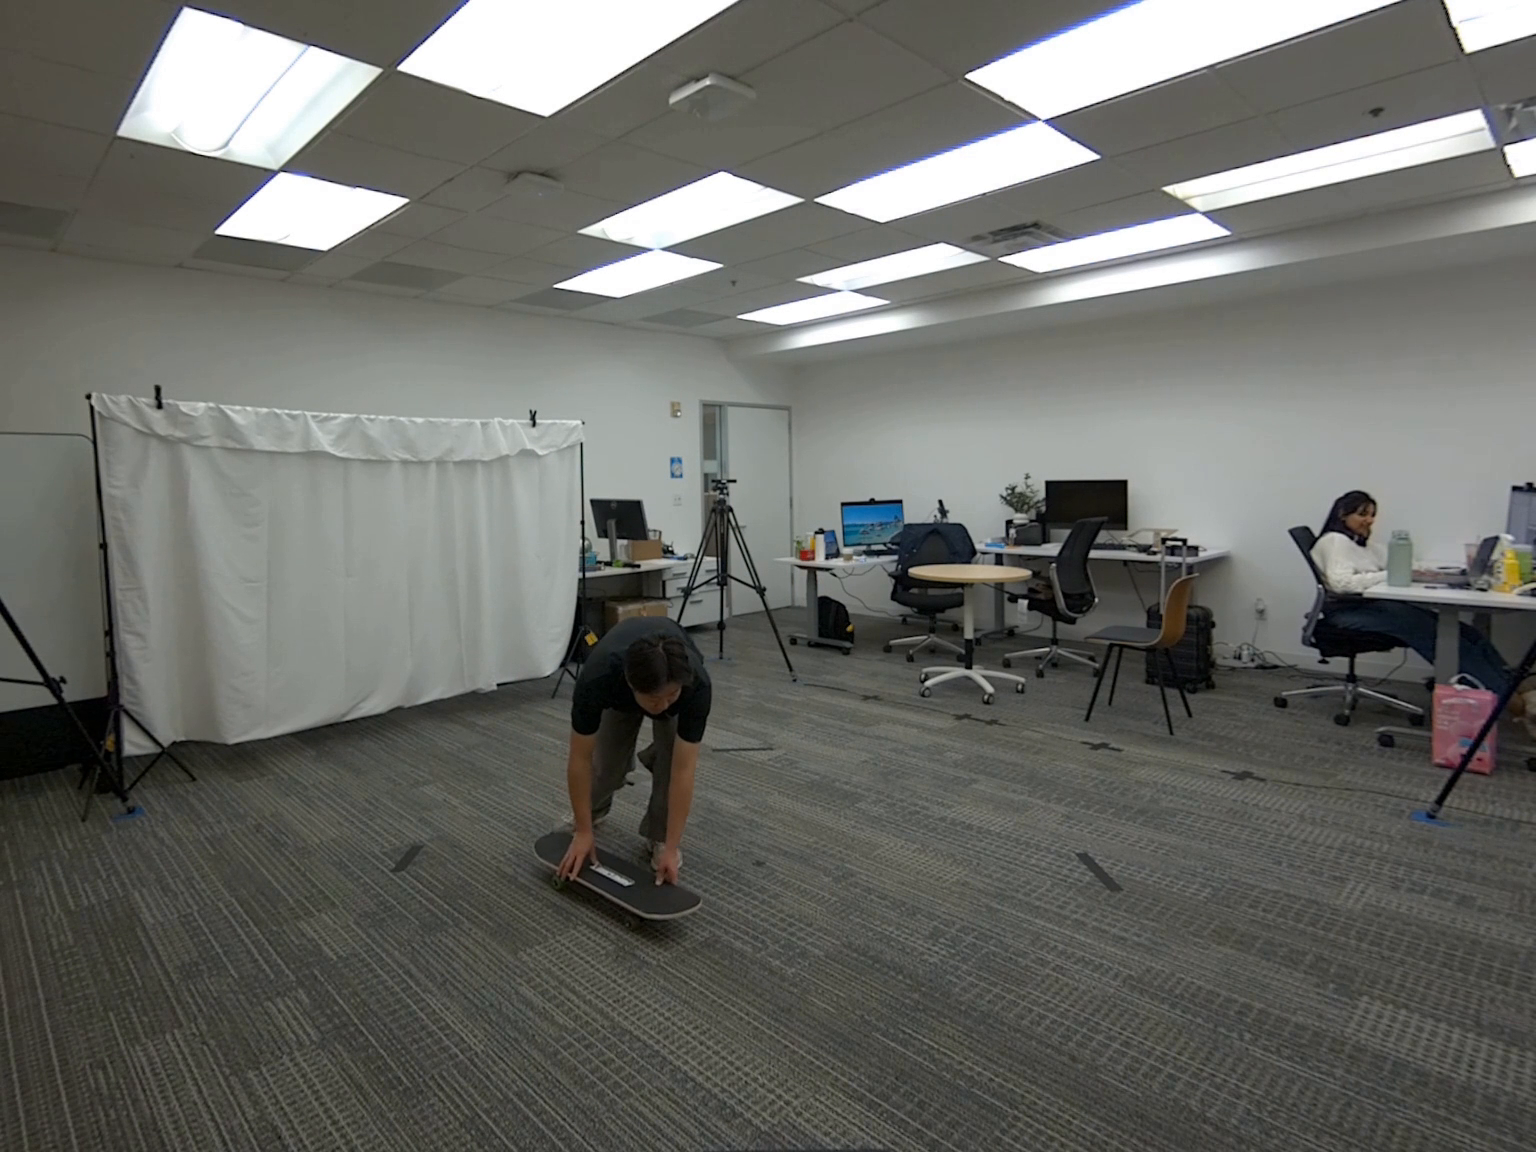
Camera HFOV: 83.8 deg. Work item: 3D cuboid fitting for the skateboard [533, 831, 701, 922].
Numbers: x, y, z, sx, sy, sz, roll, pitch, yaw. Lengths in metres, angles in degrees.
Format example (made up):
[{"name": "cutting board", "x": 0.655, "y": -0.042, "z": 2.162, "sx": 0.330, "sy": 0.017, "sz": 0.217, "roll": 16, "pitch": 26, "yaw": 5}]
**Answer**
[{"name": "skateboard", "x": -0.513, "y": 1.028, "z": 2.857, "sx": 0.810, "sy": 0.110, "sz": 0.188, "roll": 5, "pitch": 9, "yaw": 44}]
